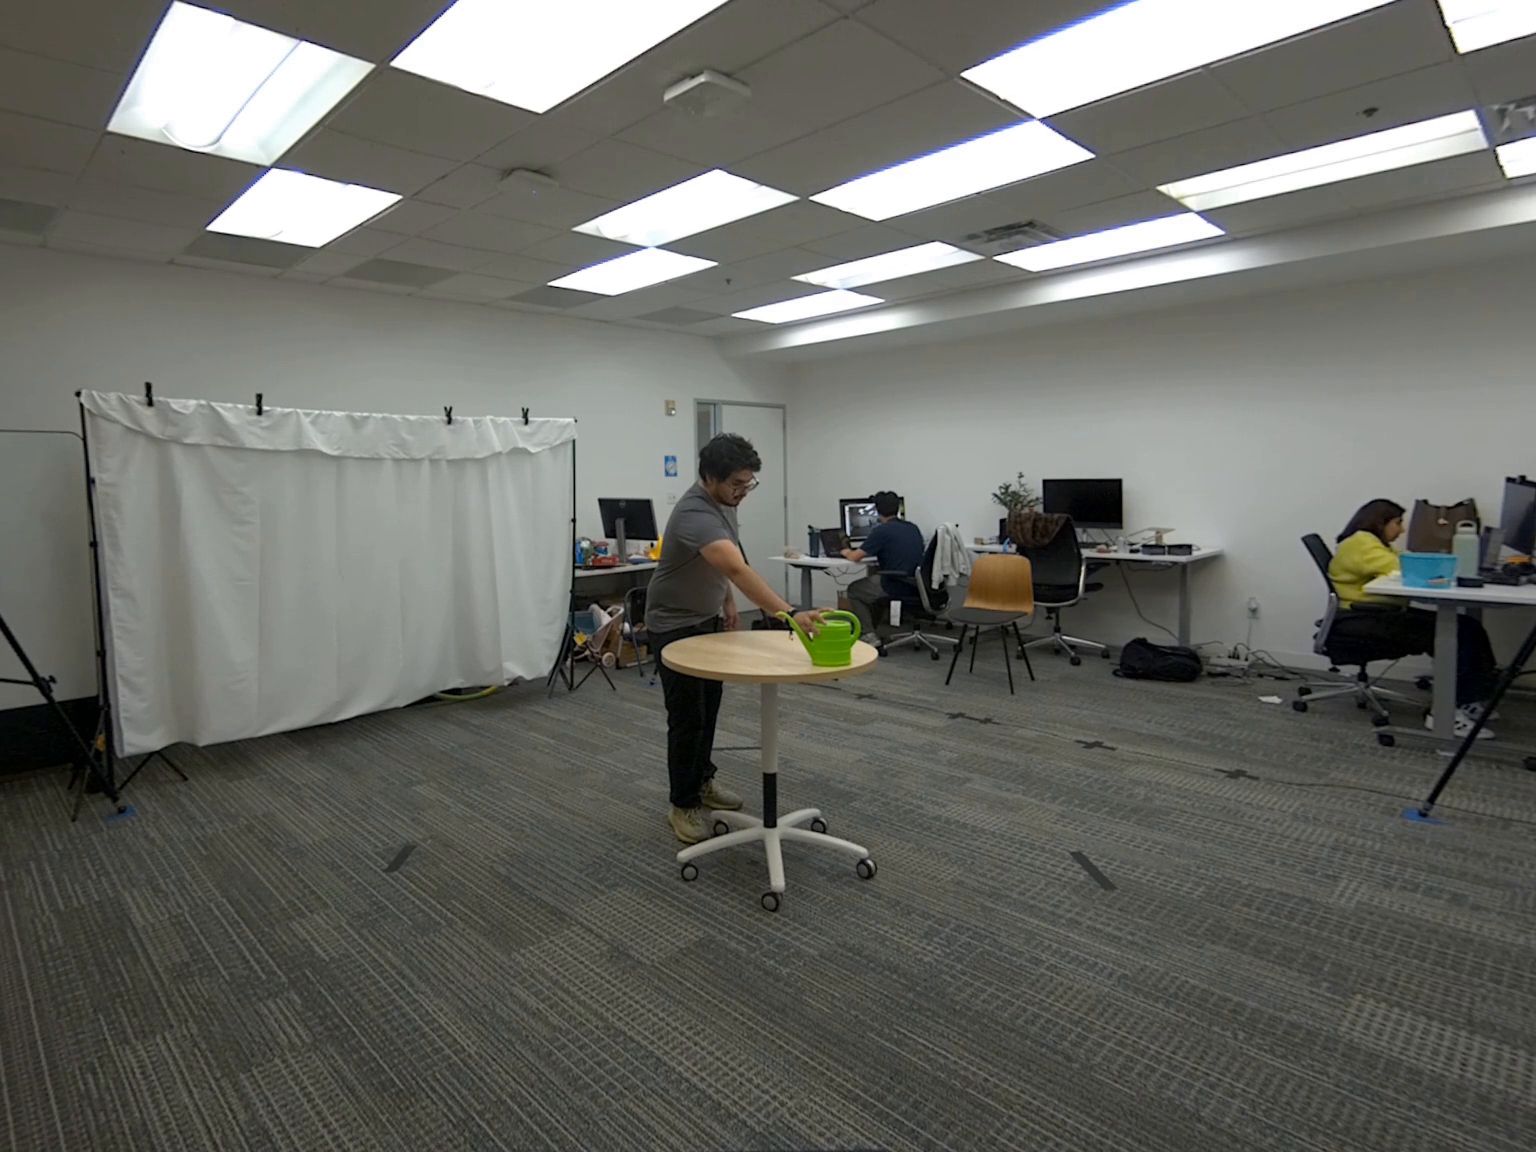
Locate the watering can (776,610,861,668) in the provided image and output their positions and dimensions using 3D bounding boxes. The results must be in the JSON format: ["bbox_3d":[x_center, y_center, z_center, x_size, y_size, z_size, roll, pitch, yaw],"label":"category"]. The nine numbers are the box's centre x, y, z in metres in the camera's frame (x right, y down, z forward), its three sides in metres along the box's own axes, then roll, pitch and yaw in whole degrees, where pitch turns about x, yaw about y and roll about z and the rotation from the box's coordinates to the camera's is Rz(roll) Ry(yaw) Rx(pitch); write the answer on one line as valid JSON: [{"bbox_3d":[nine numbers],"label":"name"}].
[{"bbox_3d":[0.173,0.203,2.823,0.280,0.176,0.098,3,5,7],"label":"watering can"}]
